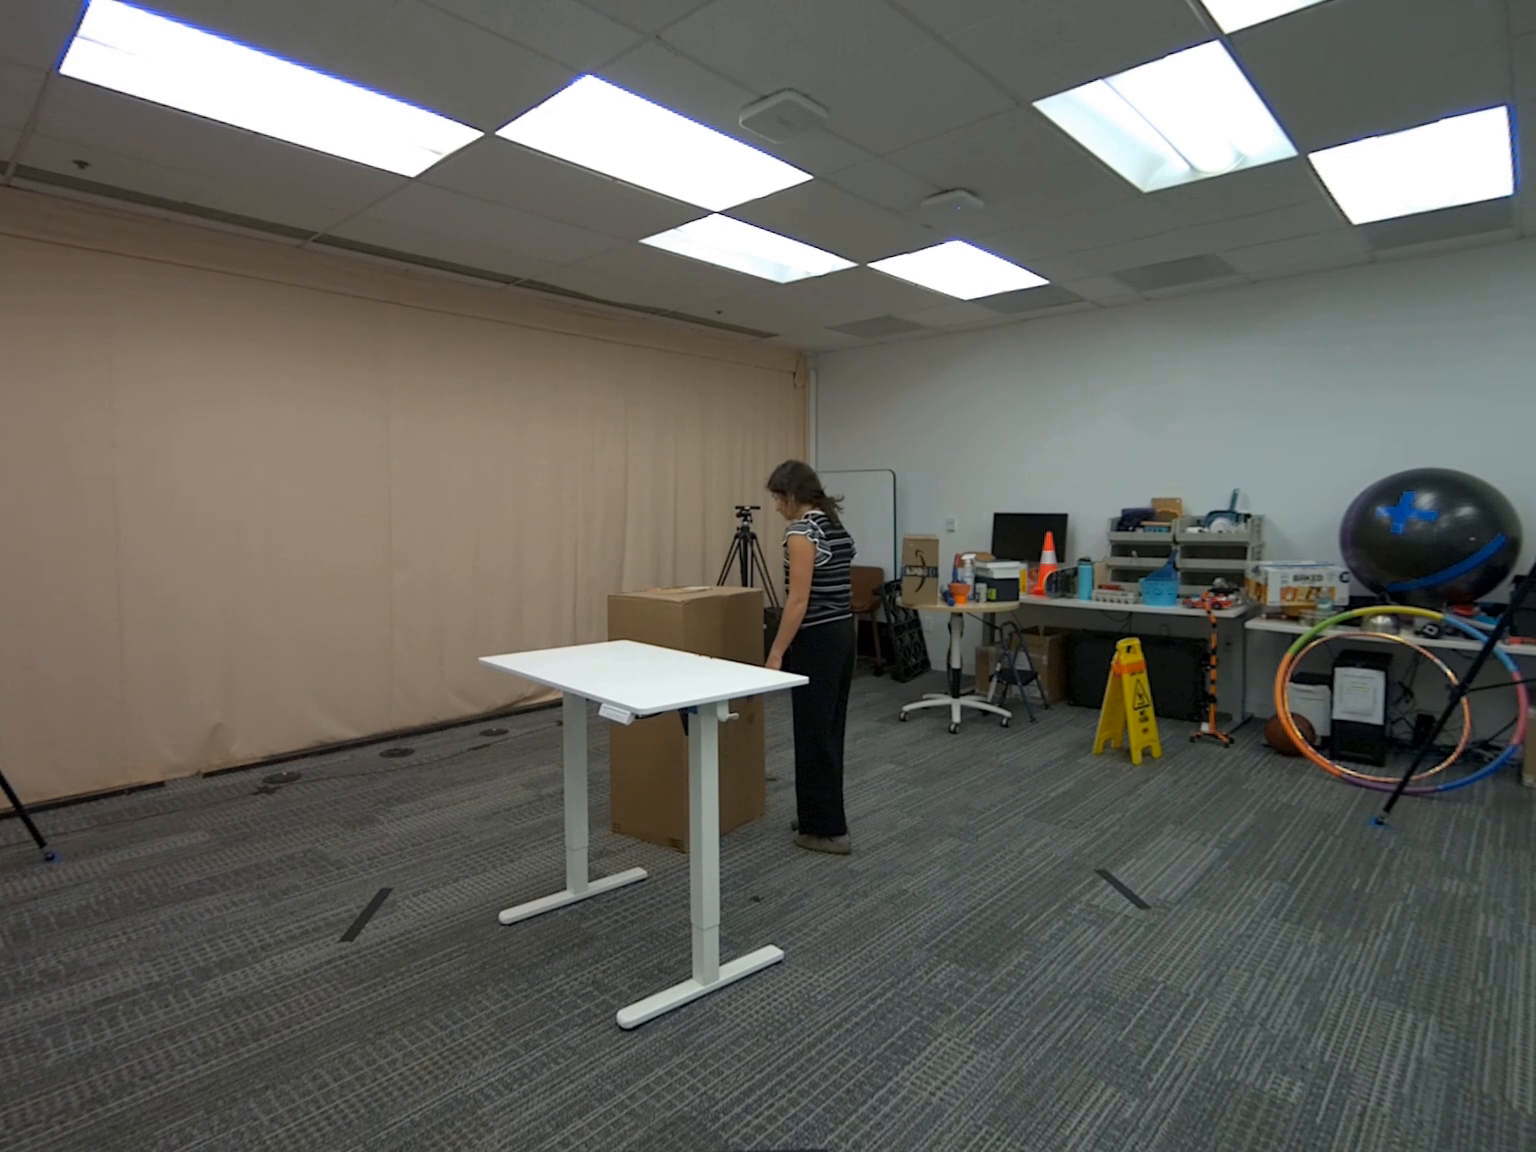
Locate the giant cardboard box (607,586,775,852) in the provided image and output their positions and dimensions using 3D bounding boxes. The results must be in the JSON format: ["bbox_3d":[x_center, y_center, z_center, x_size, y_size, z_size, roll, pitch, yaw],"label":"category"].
[{"bbox_3d":[-0.347,0.579,3.709,0.439,1.024,0.561,1,3,35],"label":"giant cardboard box"}]
